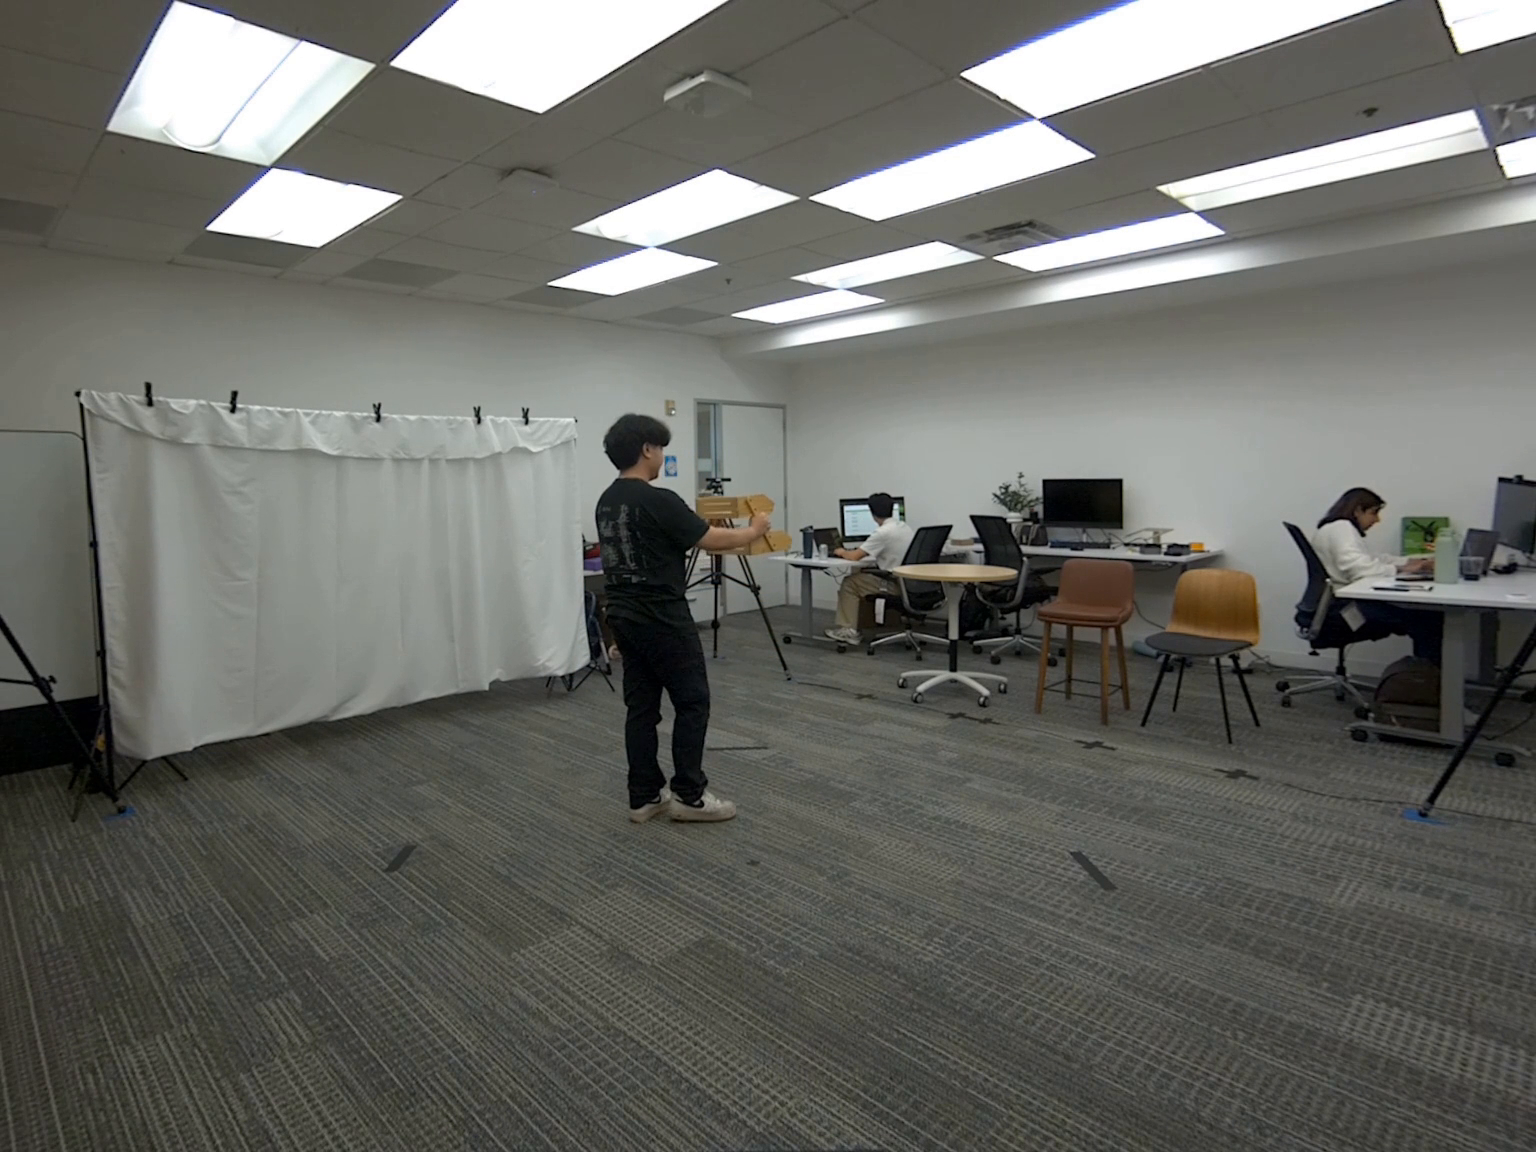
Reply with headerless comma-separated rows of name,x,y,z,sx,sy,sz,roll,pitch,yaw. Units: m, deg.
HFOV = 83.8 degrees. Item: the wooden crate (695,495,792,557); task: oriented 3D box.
wooden crate,-0.108,-0.241,3.848,0.295,0.272,0.334,-10,8,-40
